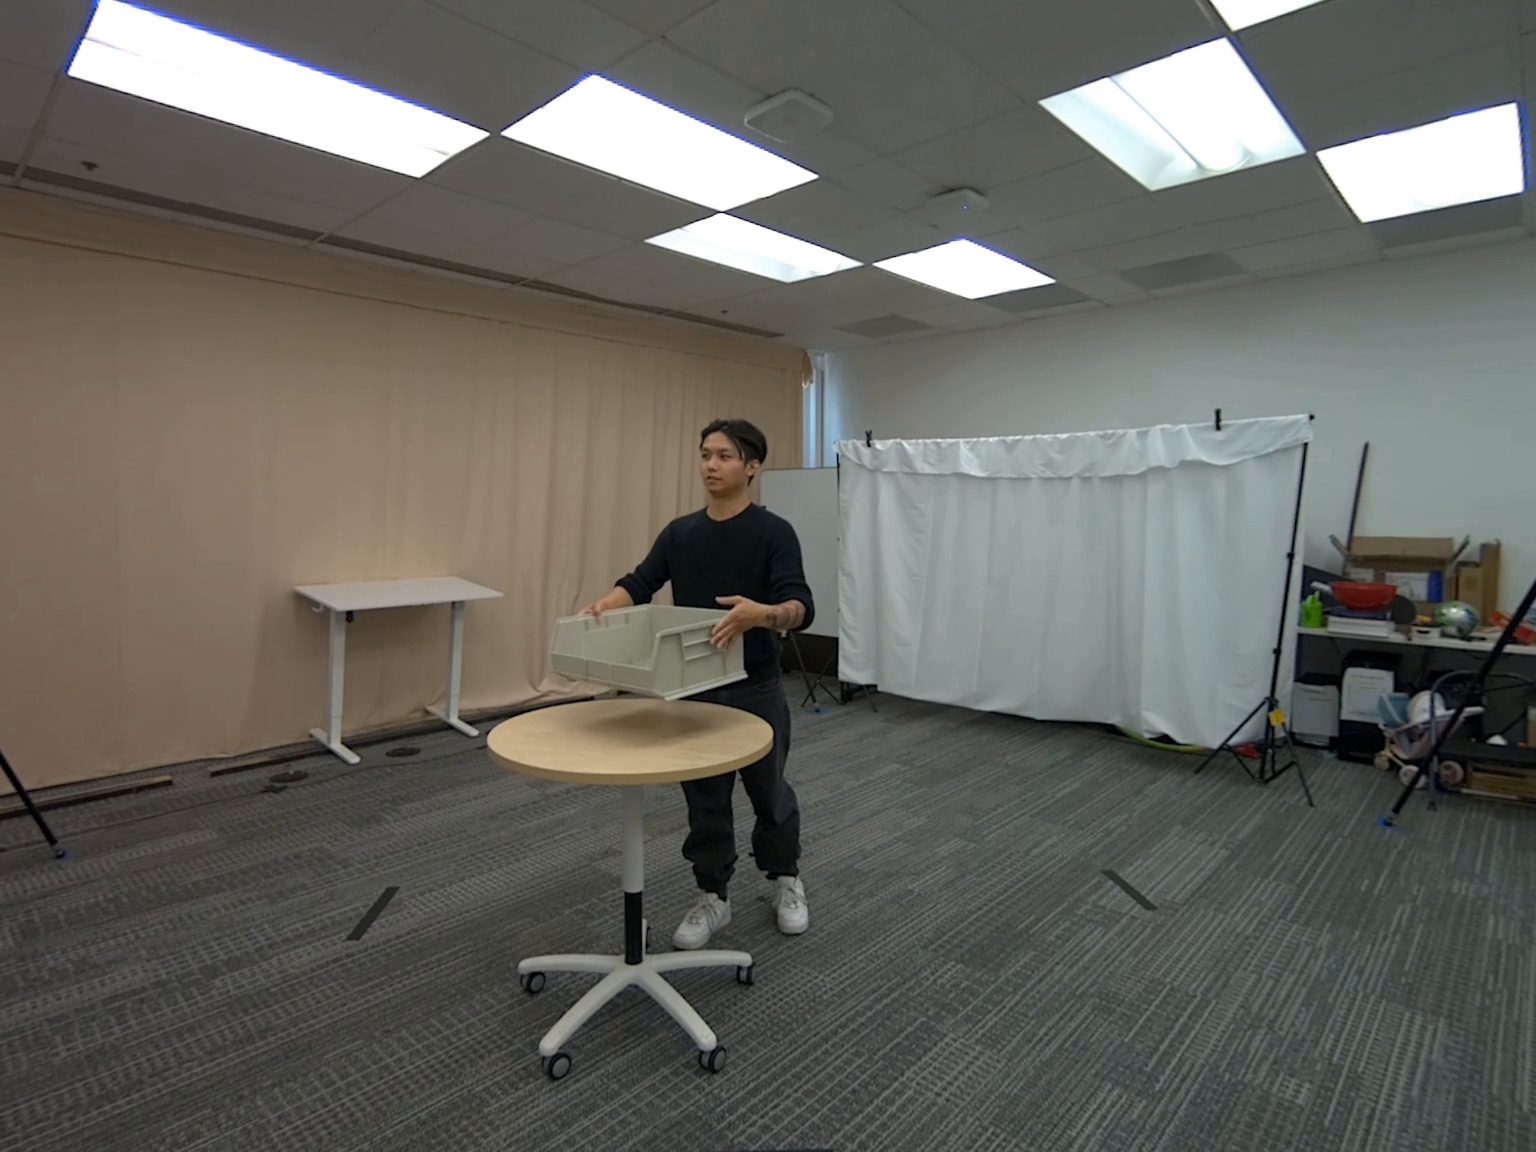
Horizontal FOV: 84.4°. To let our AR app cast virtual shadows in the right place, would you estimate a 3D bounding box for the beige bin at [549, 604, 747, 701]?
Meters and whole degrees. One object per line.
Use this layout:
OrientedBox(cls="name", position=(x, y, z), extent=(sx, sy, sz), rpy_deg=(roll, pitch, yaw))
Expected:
OrientedBox(cls="beige bin", position=(-0.325, 0.201, 2.321), extent=(0.436, 0.188, 0.366), rpy_deg=(2, 6, 42))
